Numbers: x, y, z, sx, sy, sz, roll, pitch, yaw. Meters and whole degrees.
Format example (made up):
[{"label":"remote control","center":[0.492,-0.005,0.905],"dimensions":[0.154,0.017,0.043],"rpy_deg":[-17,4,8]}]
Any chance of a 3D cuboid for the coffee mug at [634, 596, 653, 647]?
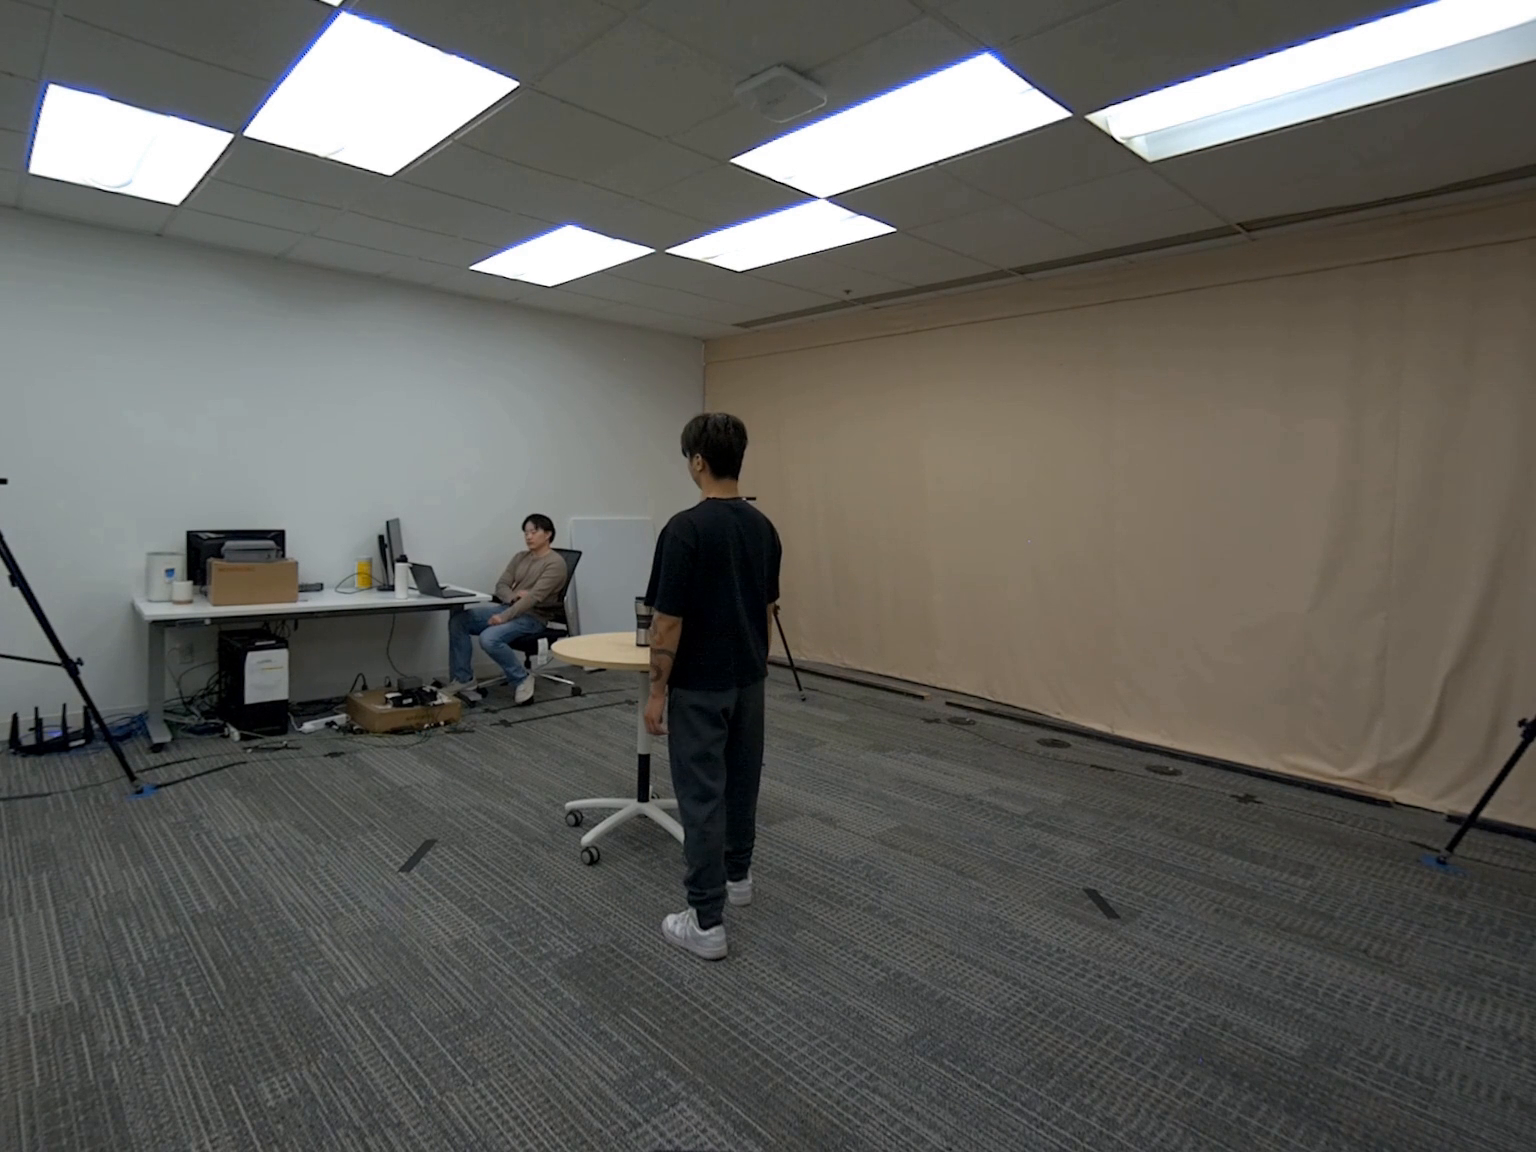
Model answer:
[{"label":"coffee mug","center":[-0.502,0.187,3.424],"dimensions":[0.086,0.204,0.124],"rpy_deg":[7,-5,-26]}]
